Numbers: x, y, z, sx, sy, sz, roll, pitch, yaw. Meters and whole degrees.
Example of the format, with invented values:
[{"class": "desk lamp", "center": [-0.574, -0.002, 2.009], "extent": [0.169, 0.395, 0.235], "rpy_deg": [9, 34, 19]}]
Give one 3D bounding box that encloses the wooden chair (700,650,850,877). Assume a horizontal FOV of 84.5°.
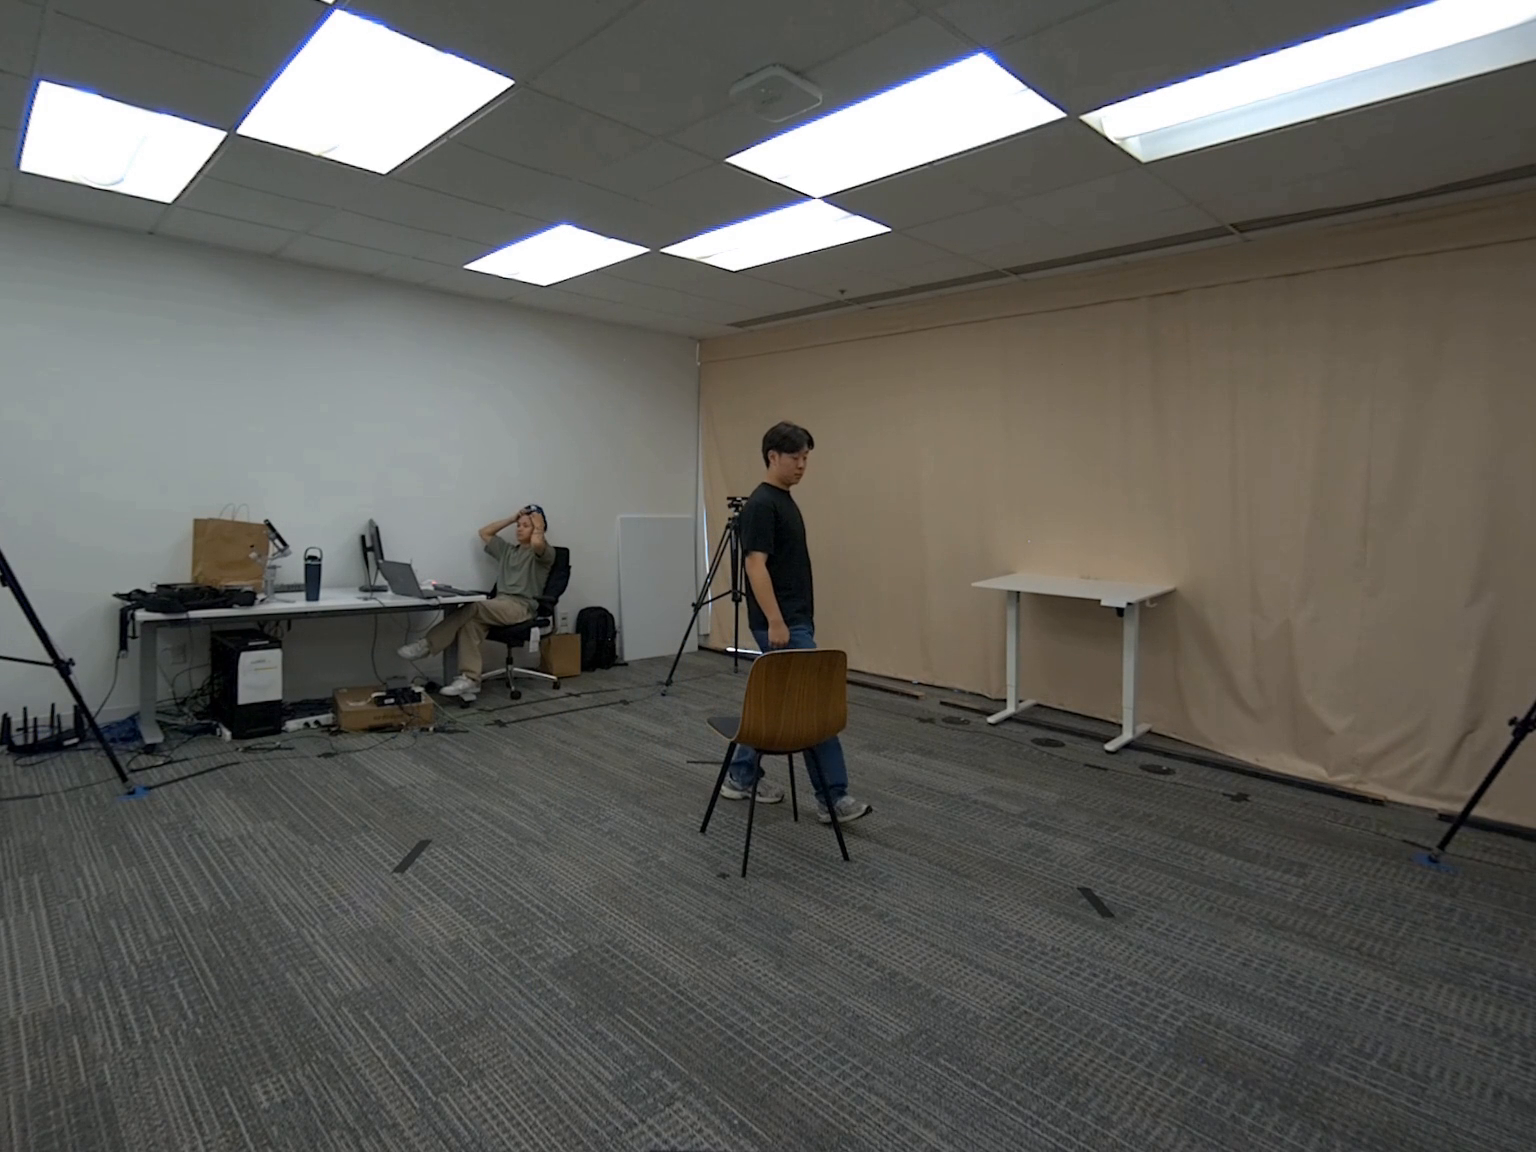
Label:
[{"class": "wooden chair", "center": [0.021, 0.661, 3.355], "extent": [0.470, 0.873, 0.535], "rpy_deg": [0, 8, -24]}]
